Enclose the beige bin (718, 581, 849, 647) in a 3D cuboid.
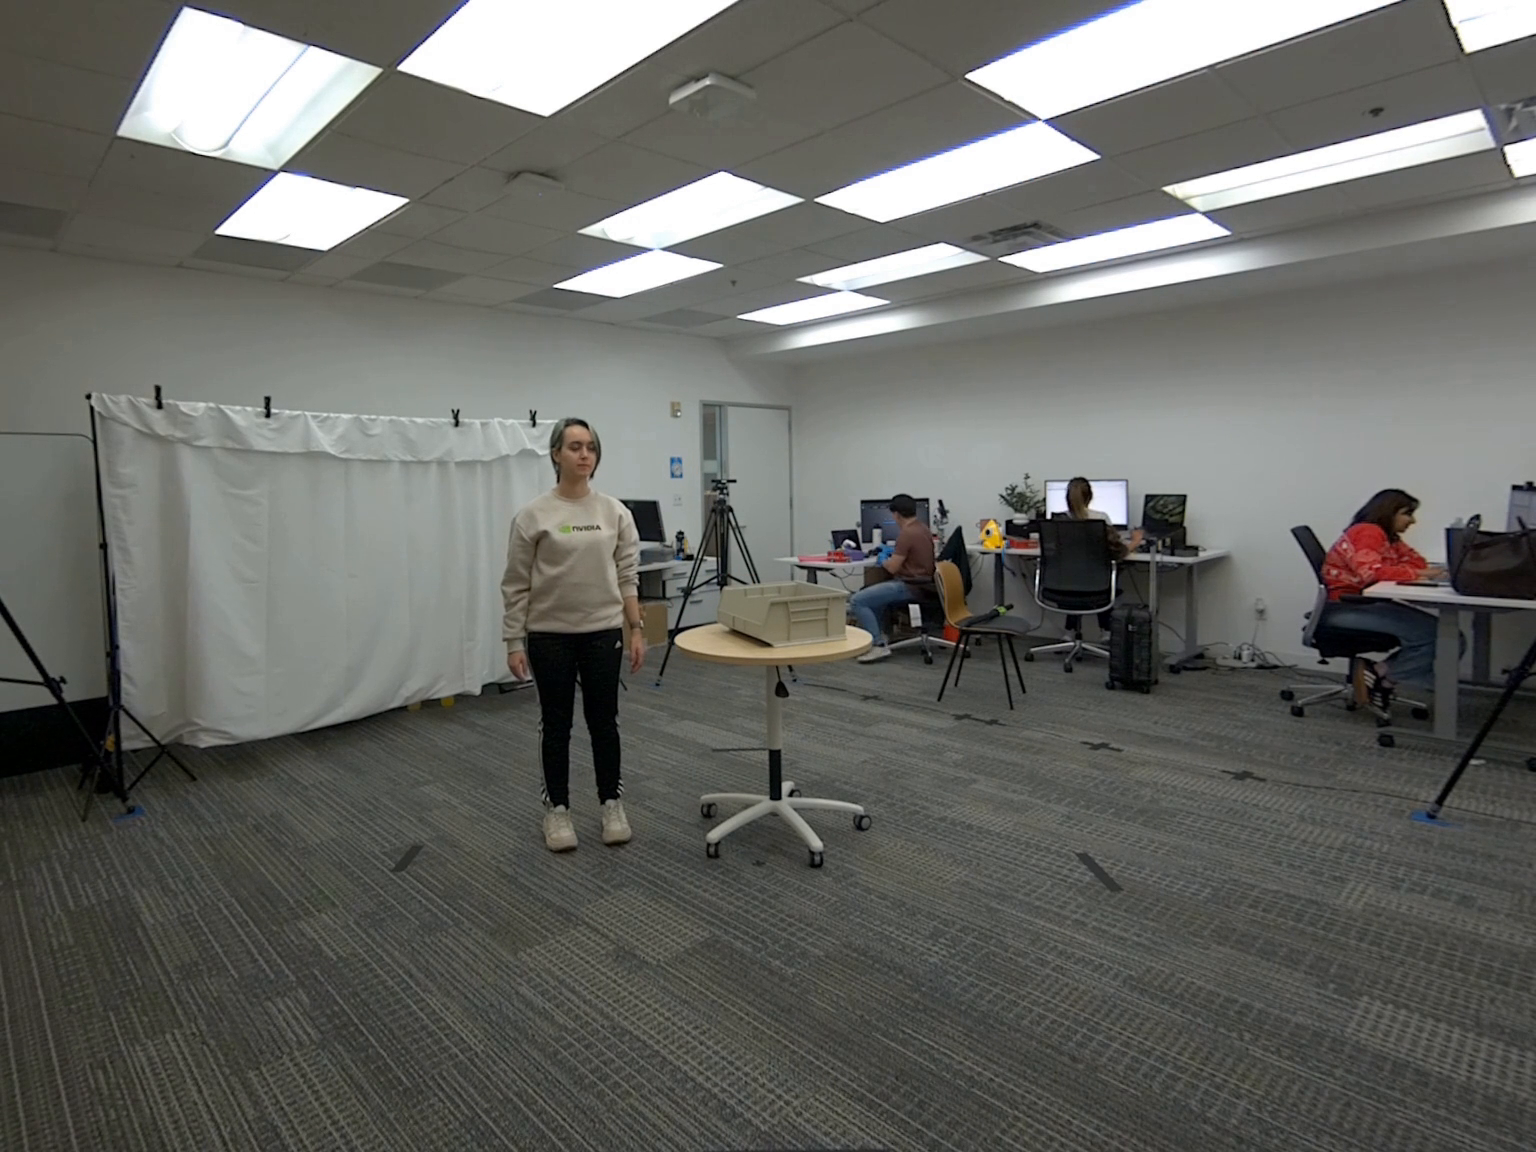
[{"bbox_3d":[0.049,0.142,3.337,0.369,0.188,0.433,-2,6,-25],"label":"beige bin"}]
